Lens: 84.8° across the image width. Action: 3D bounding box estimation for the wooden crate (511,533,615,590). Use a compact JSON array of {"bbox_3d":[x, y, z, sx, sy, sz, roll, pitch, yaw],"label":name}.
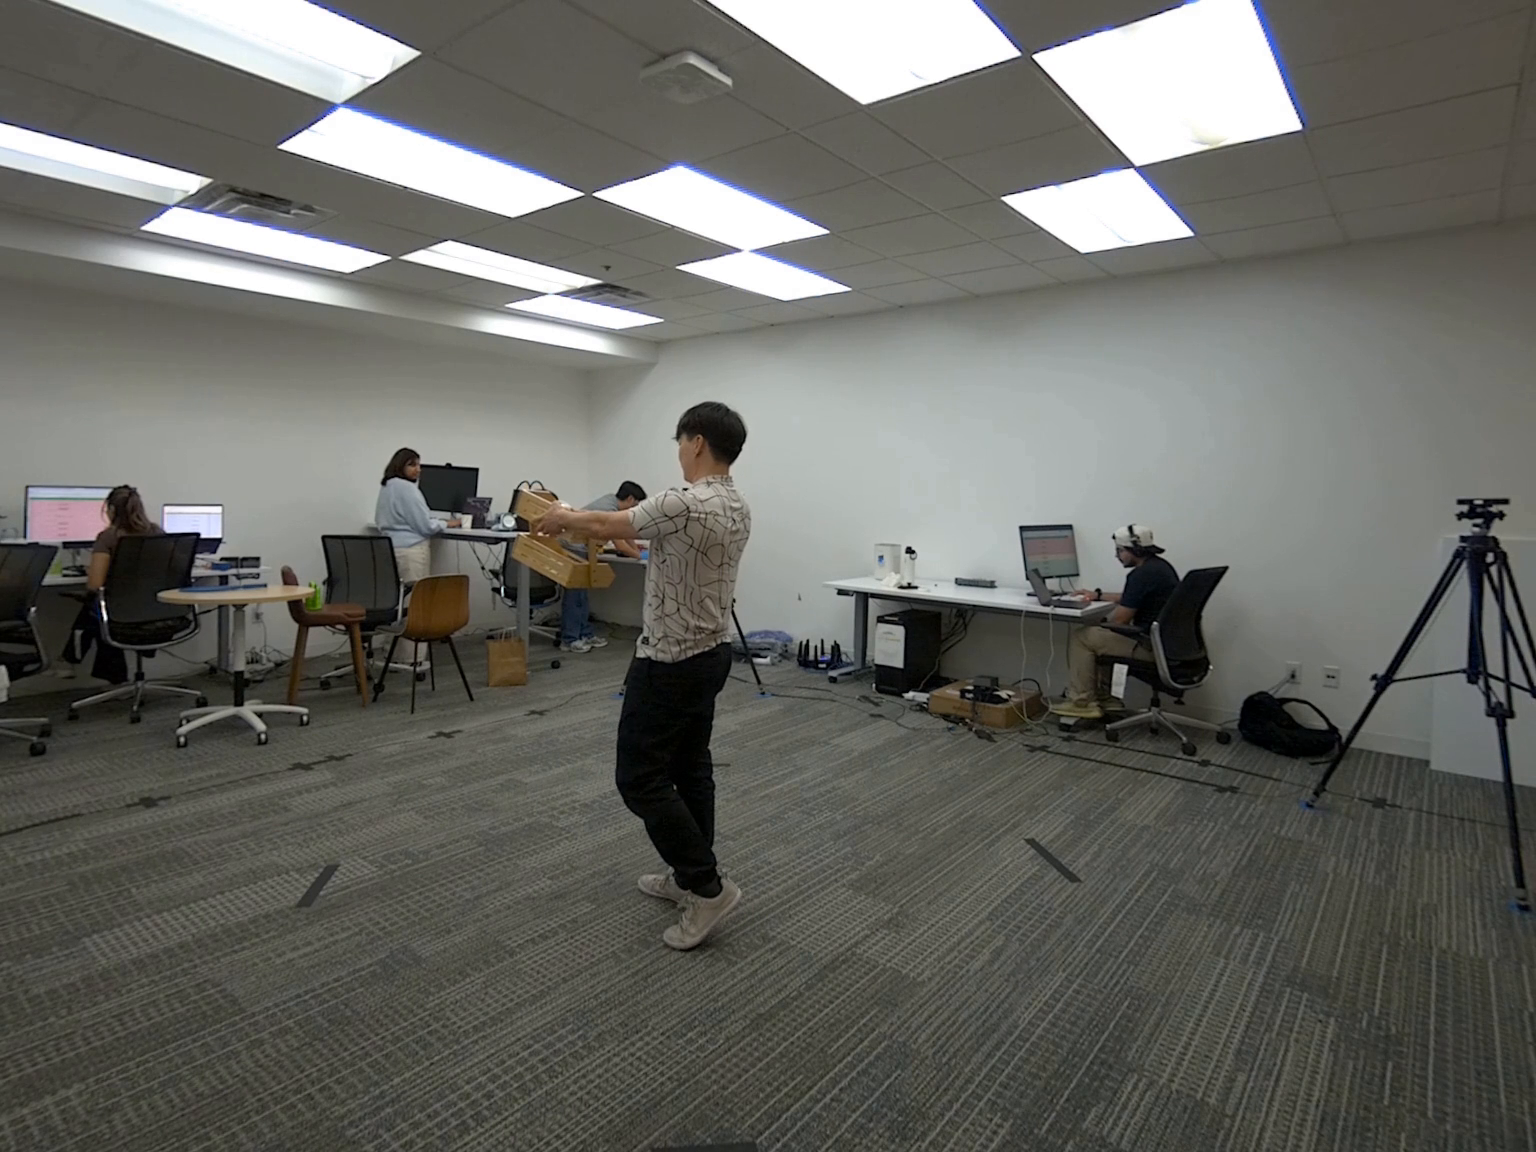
[{"bbox_3d":[-0.742,-0.142,3.120,0.336,0.272,0.293,24,11,28],"label":"wooden crate"}]
